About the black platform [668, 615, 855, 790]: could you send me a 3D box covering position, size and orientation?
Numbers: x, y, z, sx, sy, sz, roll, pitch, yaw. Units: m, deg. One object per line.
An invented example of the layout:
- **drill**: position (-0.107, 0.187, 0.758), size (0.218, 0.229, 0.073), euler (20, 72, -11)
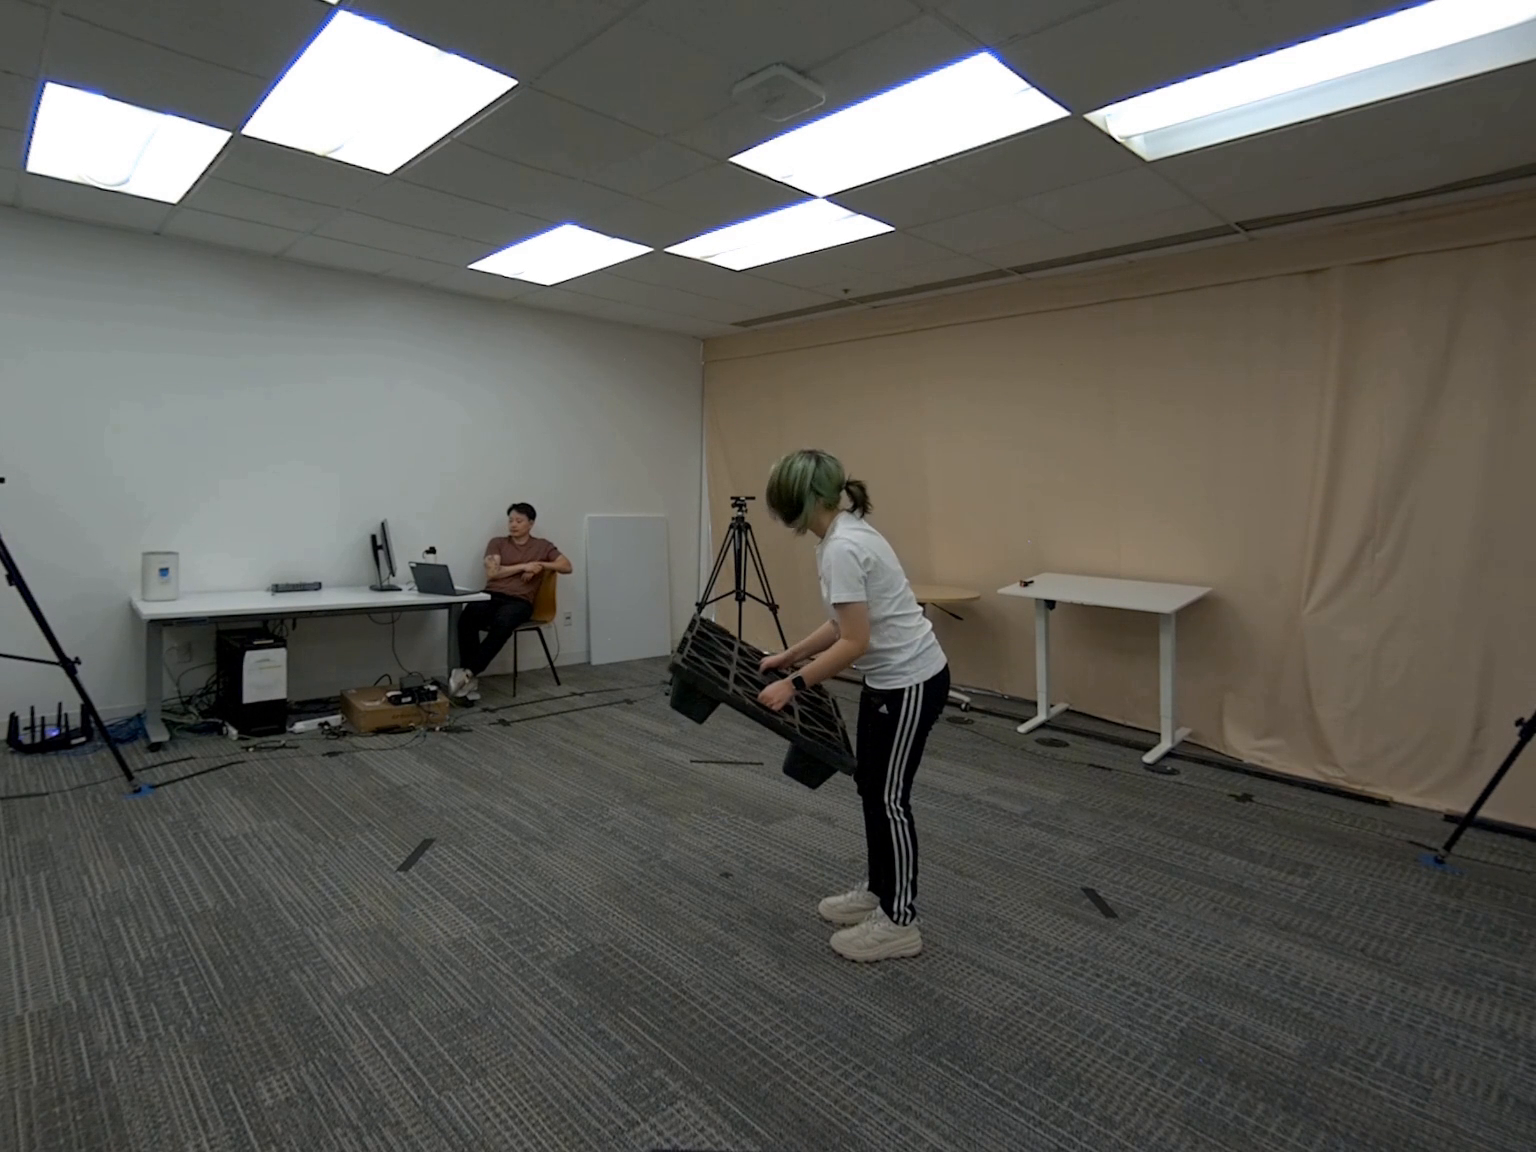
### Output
- **black platform**: position (-0.048, 0.390, 2.722), size (0.604, 0.143, 0.808), euler (31, 6, -2)
